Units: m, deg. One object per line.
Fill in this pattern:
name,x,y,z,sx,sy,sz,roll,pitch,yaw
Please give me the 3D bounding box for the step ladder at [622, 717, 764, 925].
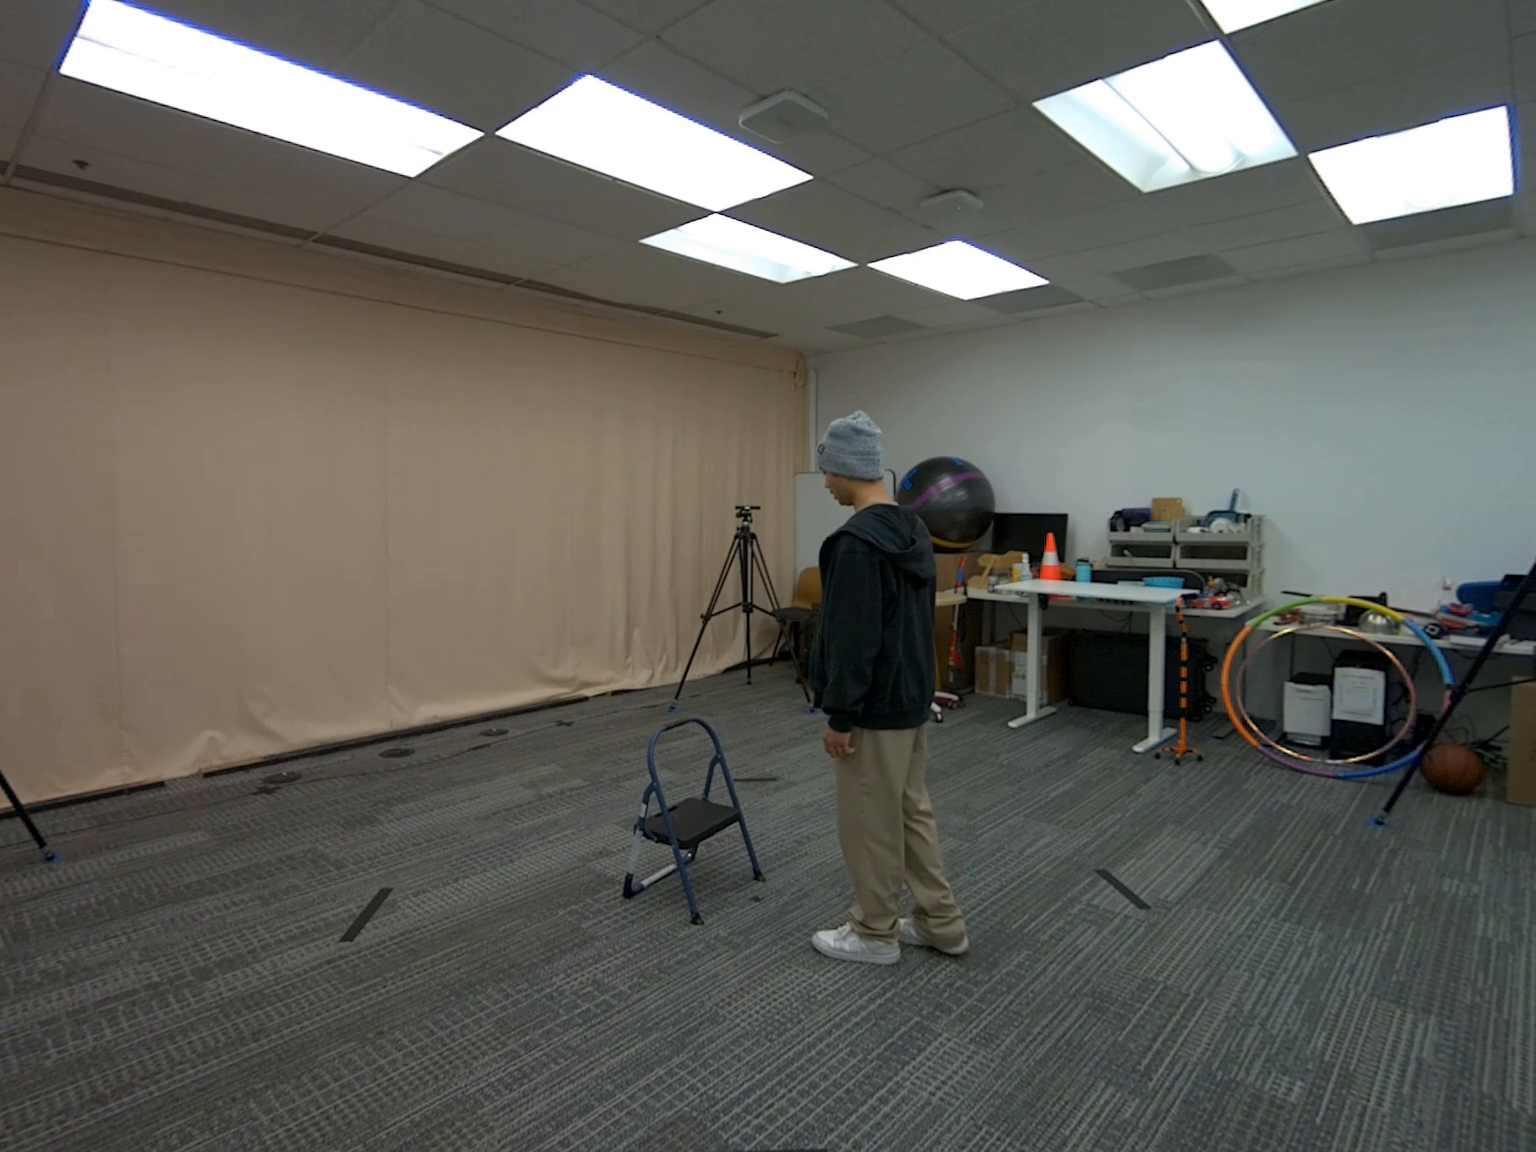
step ladder,-0.266,0.836,3.053,0.360,0.605,0.418,2,4,33
